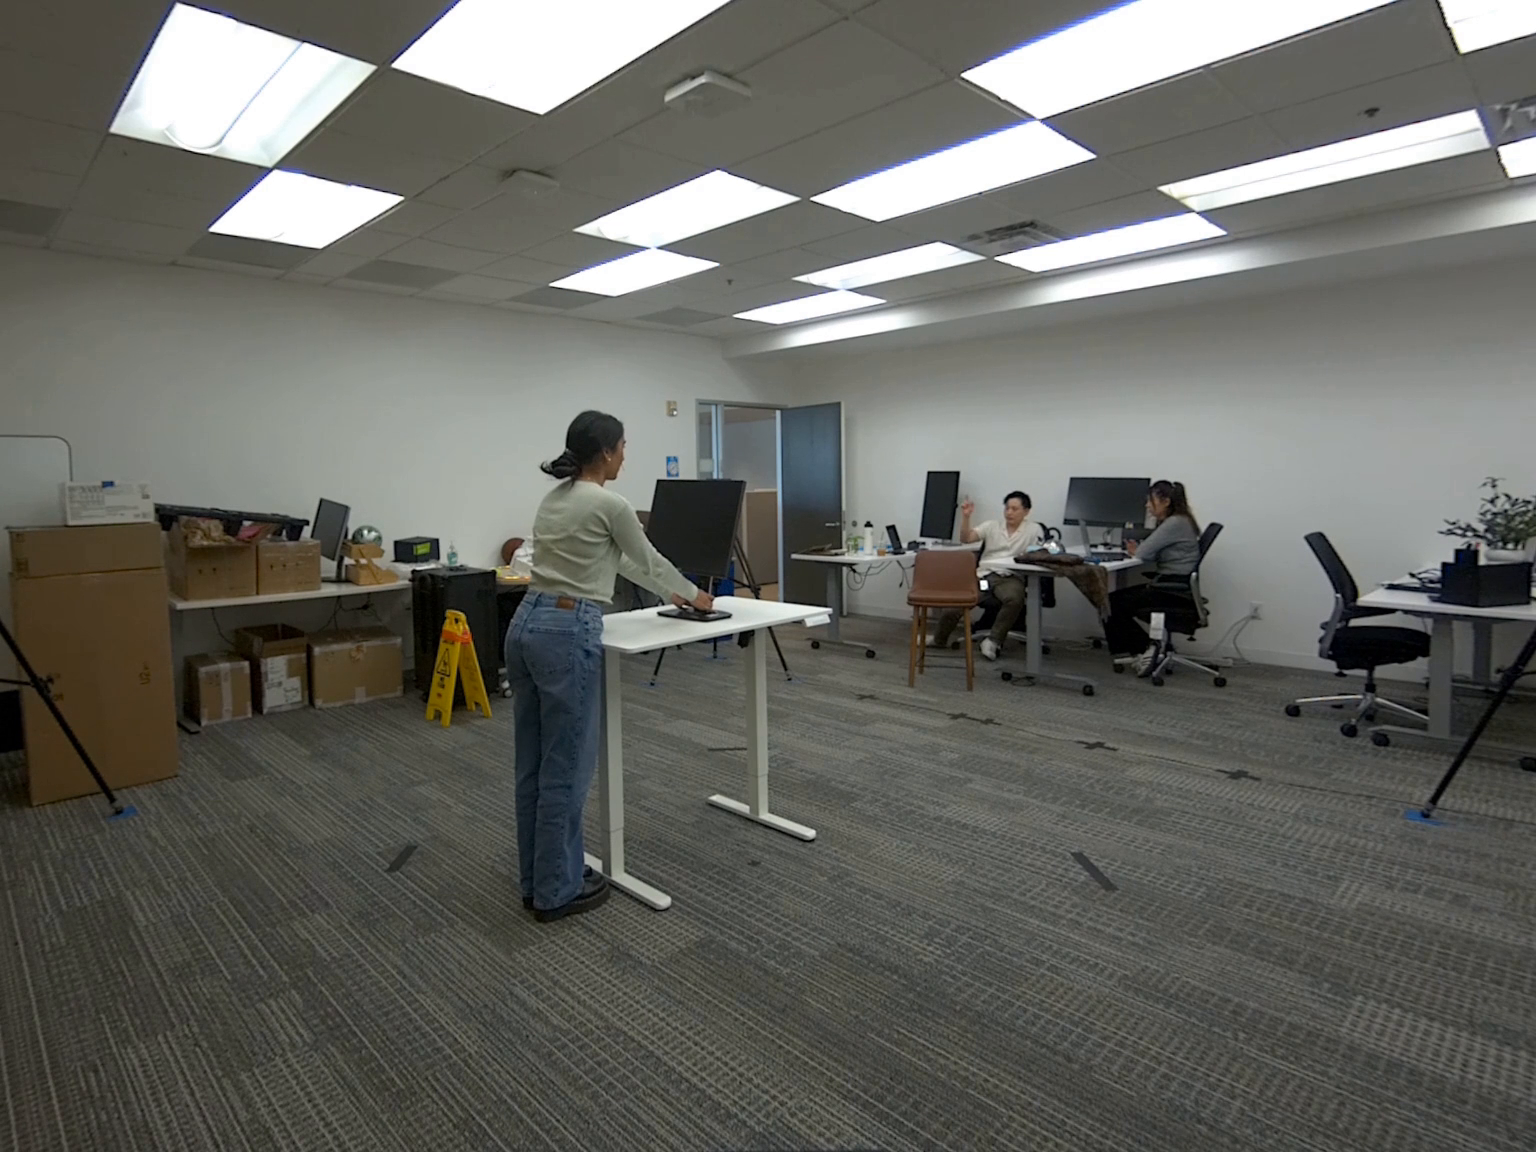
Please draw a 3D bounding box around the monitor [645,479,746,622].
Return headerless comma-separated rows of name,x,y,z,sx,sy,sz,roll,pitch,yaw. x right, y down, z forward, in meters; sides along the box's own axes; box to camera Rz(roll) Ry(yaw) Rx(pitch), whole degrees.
monitor,-0.256,-0.101,3.223,0.182,0.521,0.556,-2,5,-43
